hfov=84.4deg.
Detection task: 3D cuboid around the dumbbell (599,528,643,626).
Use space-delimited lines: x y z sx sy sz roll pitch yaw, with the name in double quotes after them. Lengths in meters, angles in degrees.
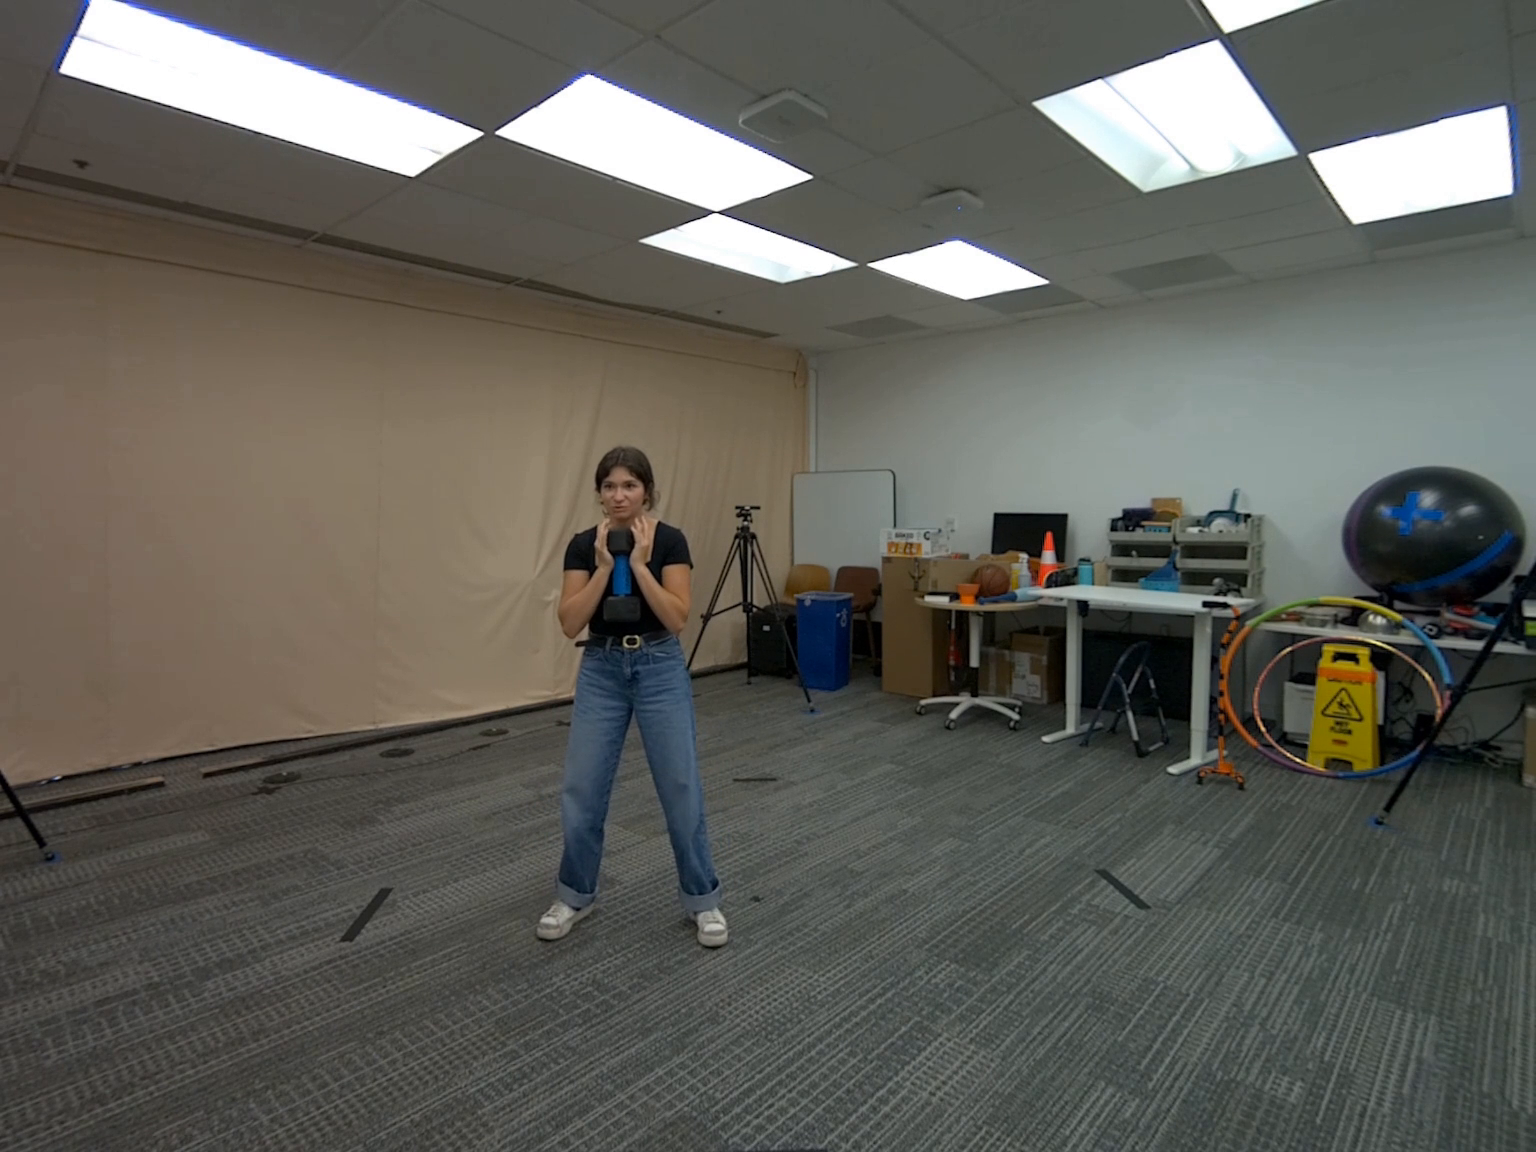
-0.458 0.005 2.663 0.108 0.293 0.123 -2 4 -3 "dumbbell"
